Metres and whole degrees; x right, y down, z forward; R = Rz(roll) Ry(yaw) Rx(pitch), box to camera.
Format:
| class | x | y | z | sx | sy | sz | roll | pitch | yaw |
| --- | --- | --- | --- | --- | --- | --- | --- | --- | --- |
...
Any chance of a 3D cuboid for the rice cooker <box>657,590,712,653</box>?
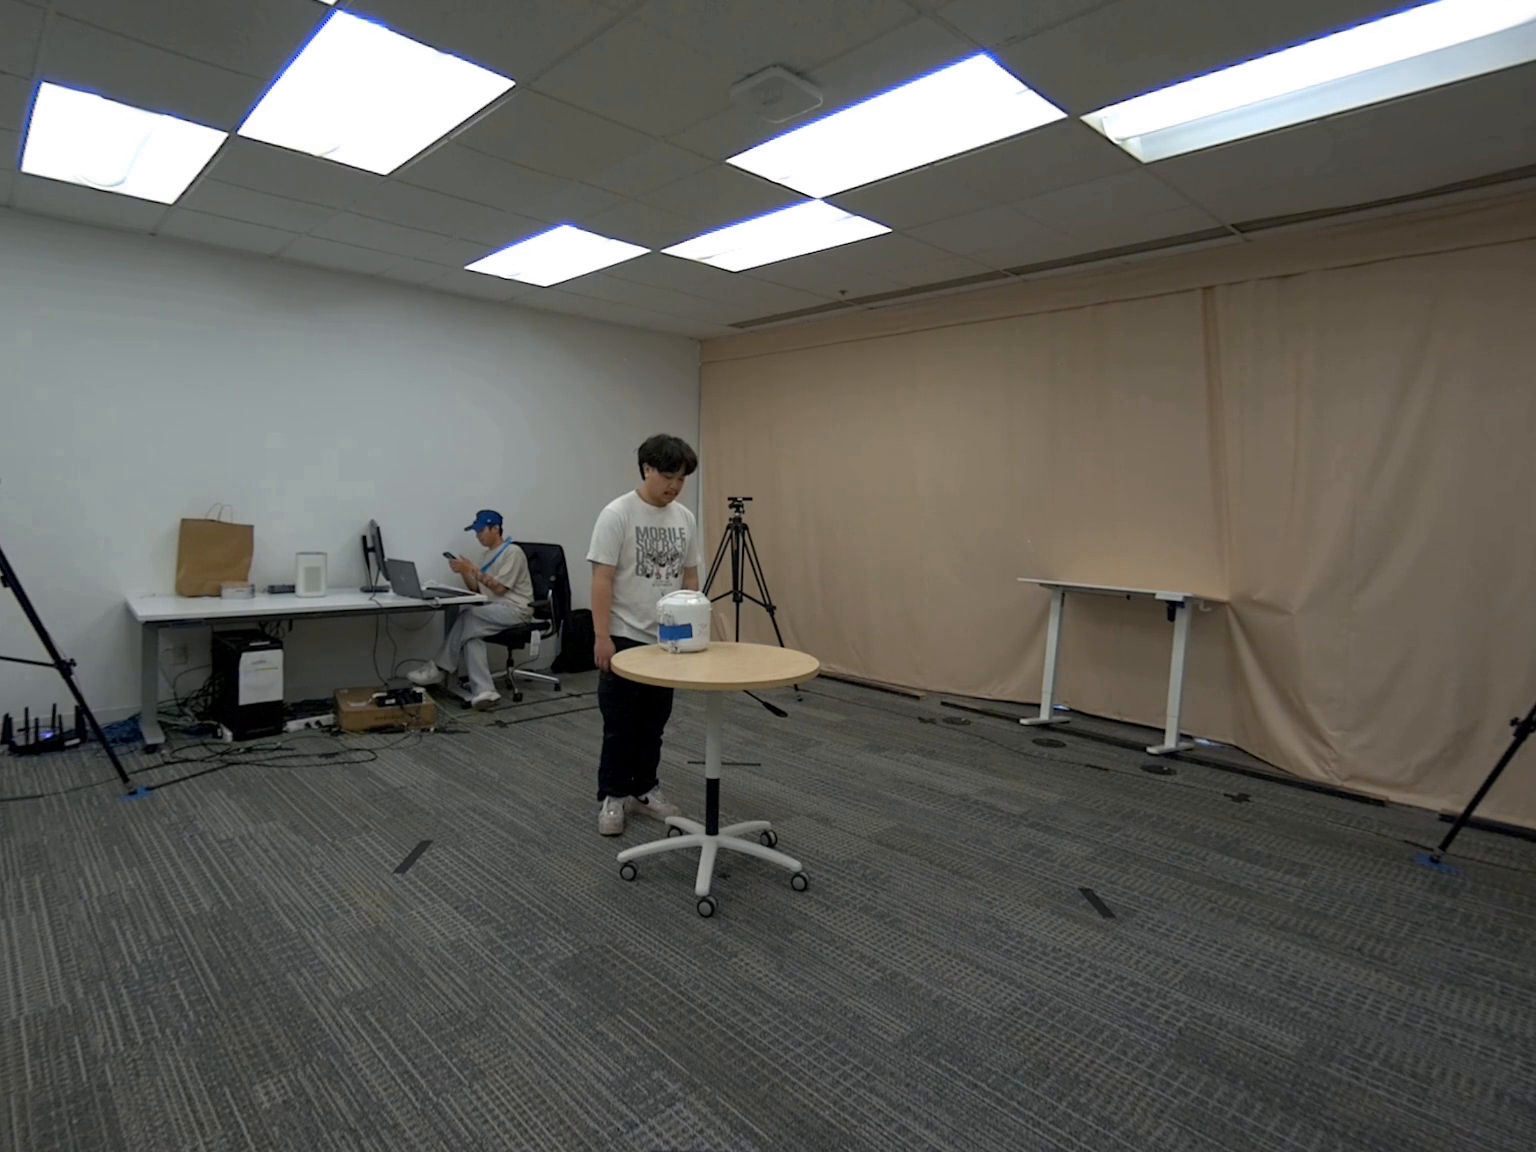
| class | x | y | z | sx | sy | sz | roll | pitch | yaw |
| --- | --- | --- | --- | --- | --- | --- | --- | --- | --- |
| rice cooker | -0.341 | 0.172 | 3.303 | 0.217 | 0.232 | 0.222 | 0 | 5 | -23 |
